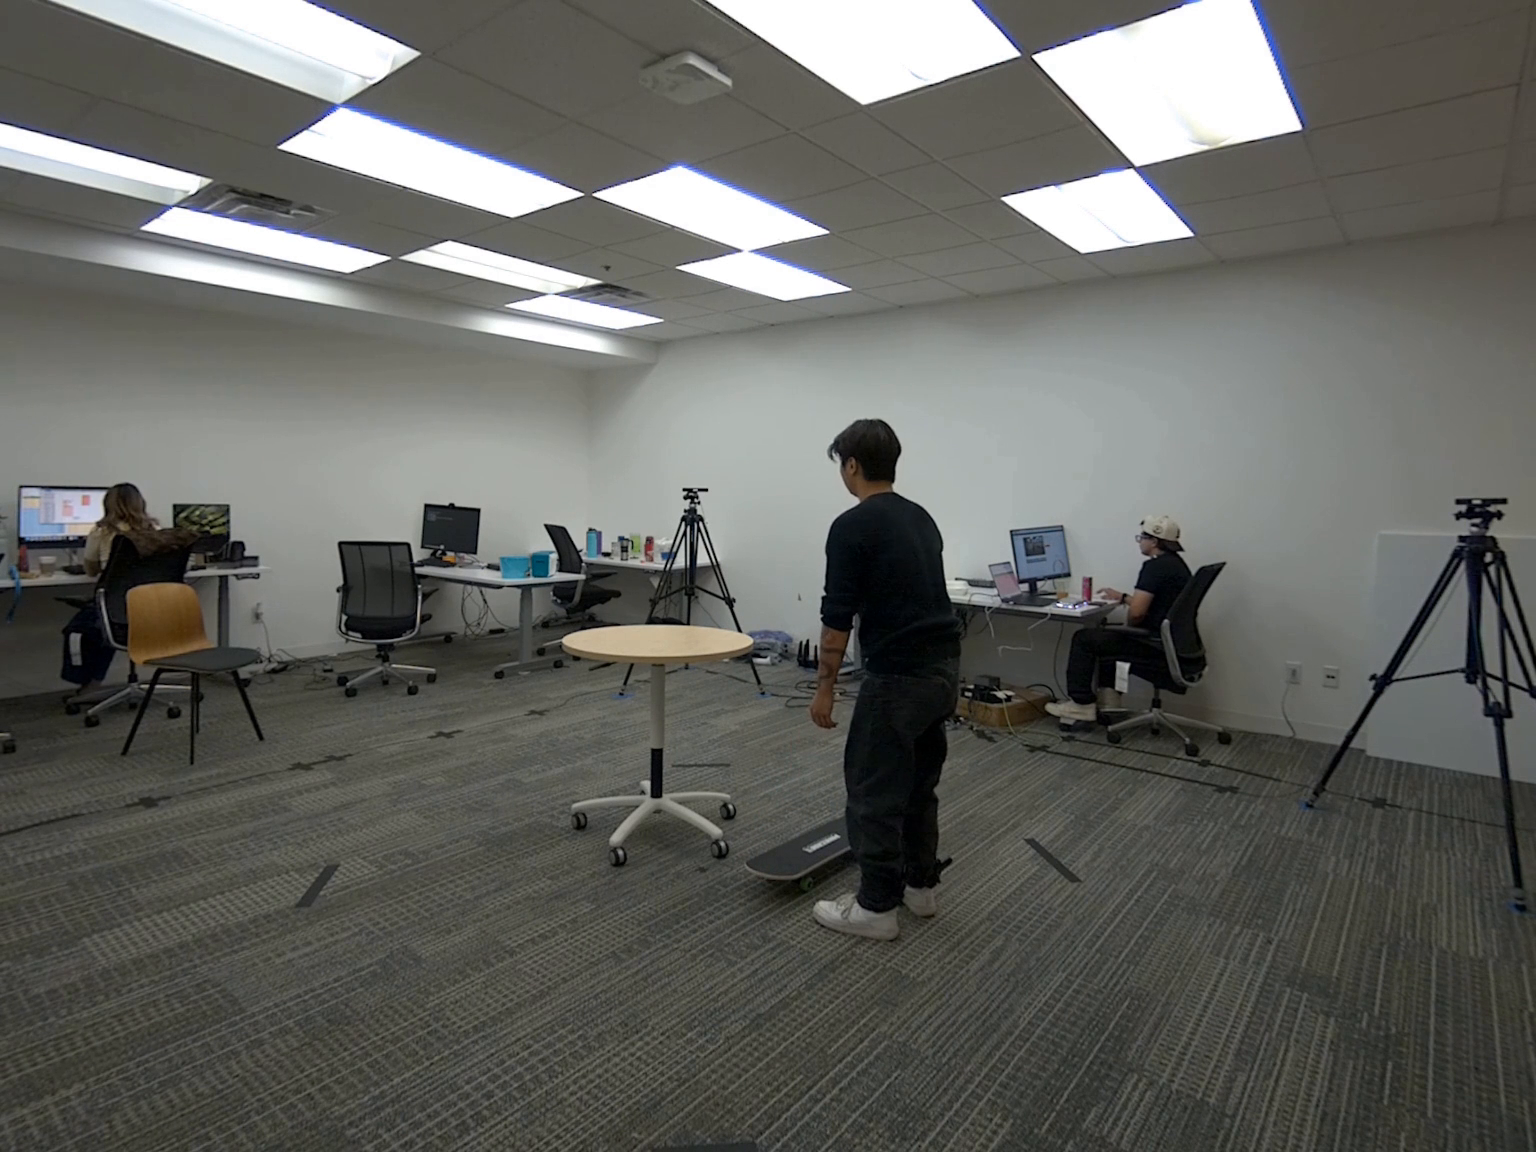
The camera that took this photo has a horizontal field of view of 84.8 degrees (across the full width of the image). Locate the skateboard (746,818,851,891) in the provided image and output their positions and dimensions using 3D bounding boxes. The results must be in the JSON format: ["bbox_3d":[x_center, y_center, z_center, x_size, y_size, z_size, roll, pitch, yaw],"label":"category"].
[{"bbox_3d":[0.199,1.021,3.155,0.200,0.110,0.762,6,7,40],"label":"skateboard"}]
